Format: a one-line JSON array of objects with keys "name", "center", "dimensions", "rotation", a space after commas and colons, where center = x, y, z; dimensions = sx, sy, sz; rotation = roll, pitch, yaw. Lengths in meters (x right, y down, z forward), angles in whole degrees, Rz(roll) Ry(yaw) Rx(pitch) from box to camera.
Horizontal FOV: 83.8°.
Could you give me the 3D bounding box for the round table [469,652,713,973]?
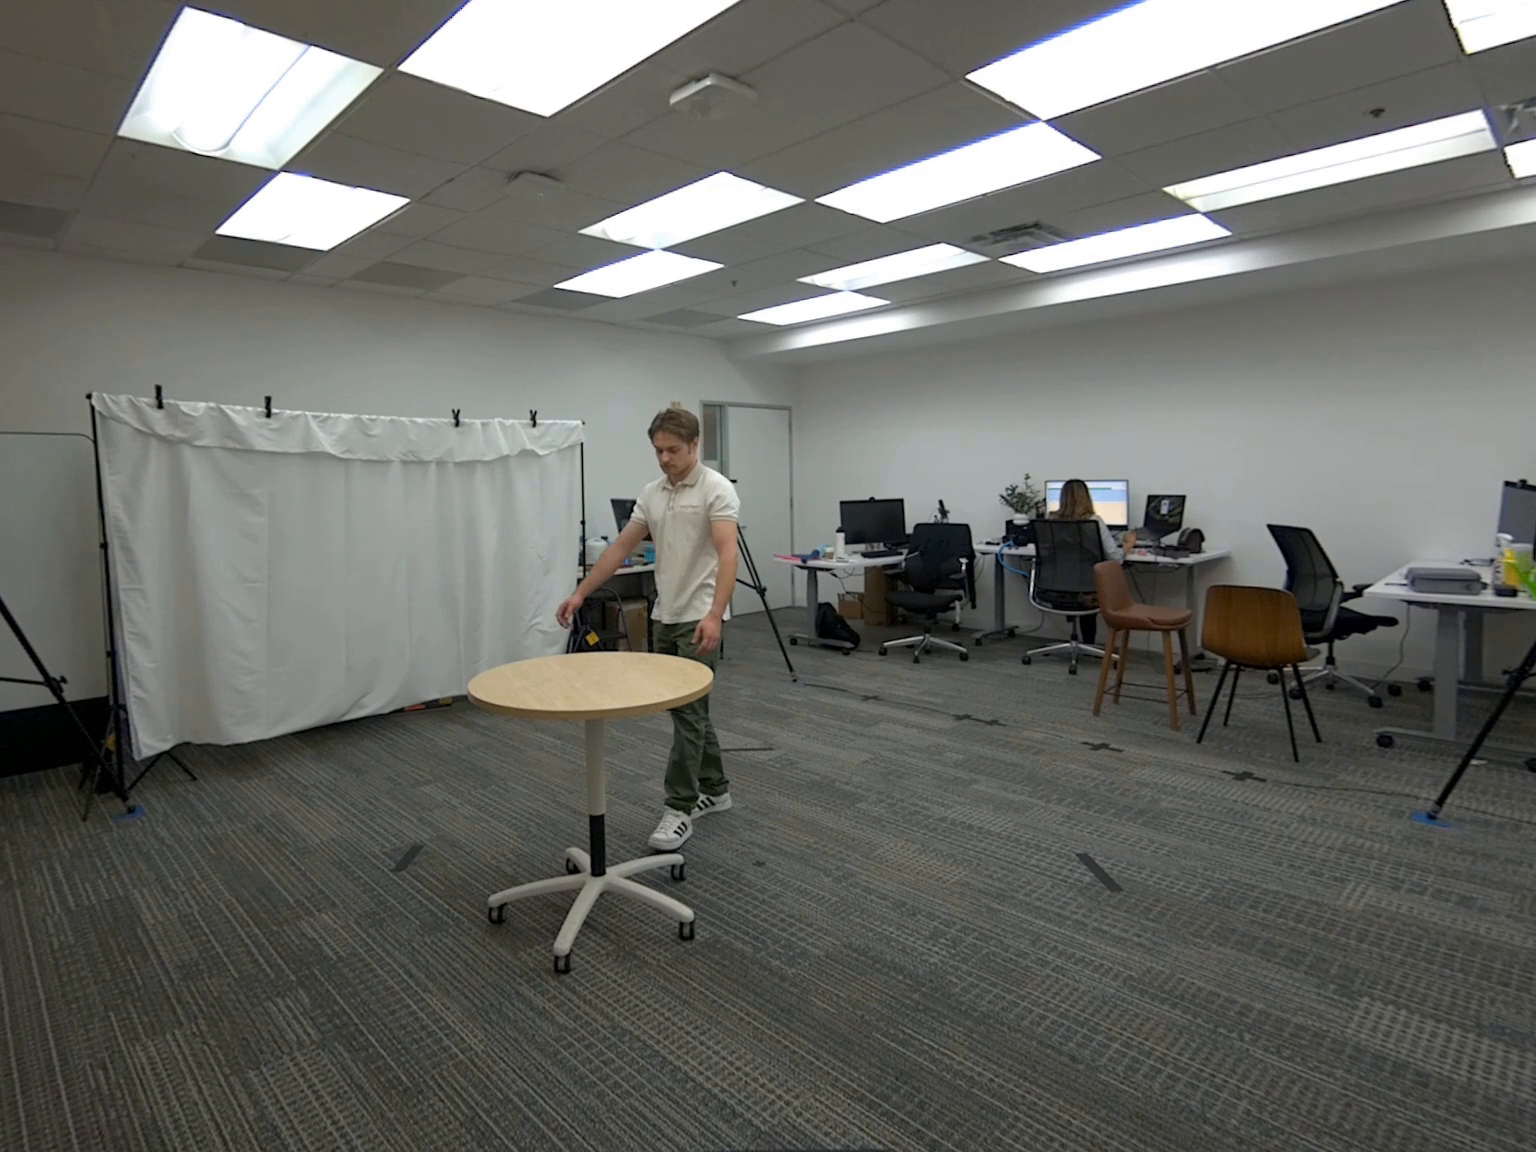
[{"name": "round table", "center": [-0.547, 0.704, 2.752], "dimensions": [0.784, 0.783, 0.790], "rotation": [-1, 6, -2]}]
